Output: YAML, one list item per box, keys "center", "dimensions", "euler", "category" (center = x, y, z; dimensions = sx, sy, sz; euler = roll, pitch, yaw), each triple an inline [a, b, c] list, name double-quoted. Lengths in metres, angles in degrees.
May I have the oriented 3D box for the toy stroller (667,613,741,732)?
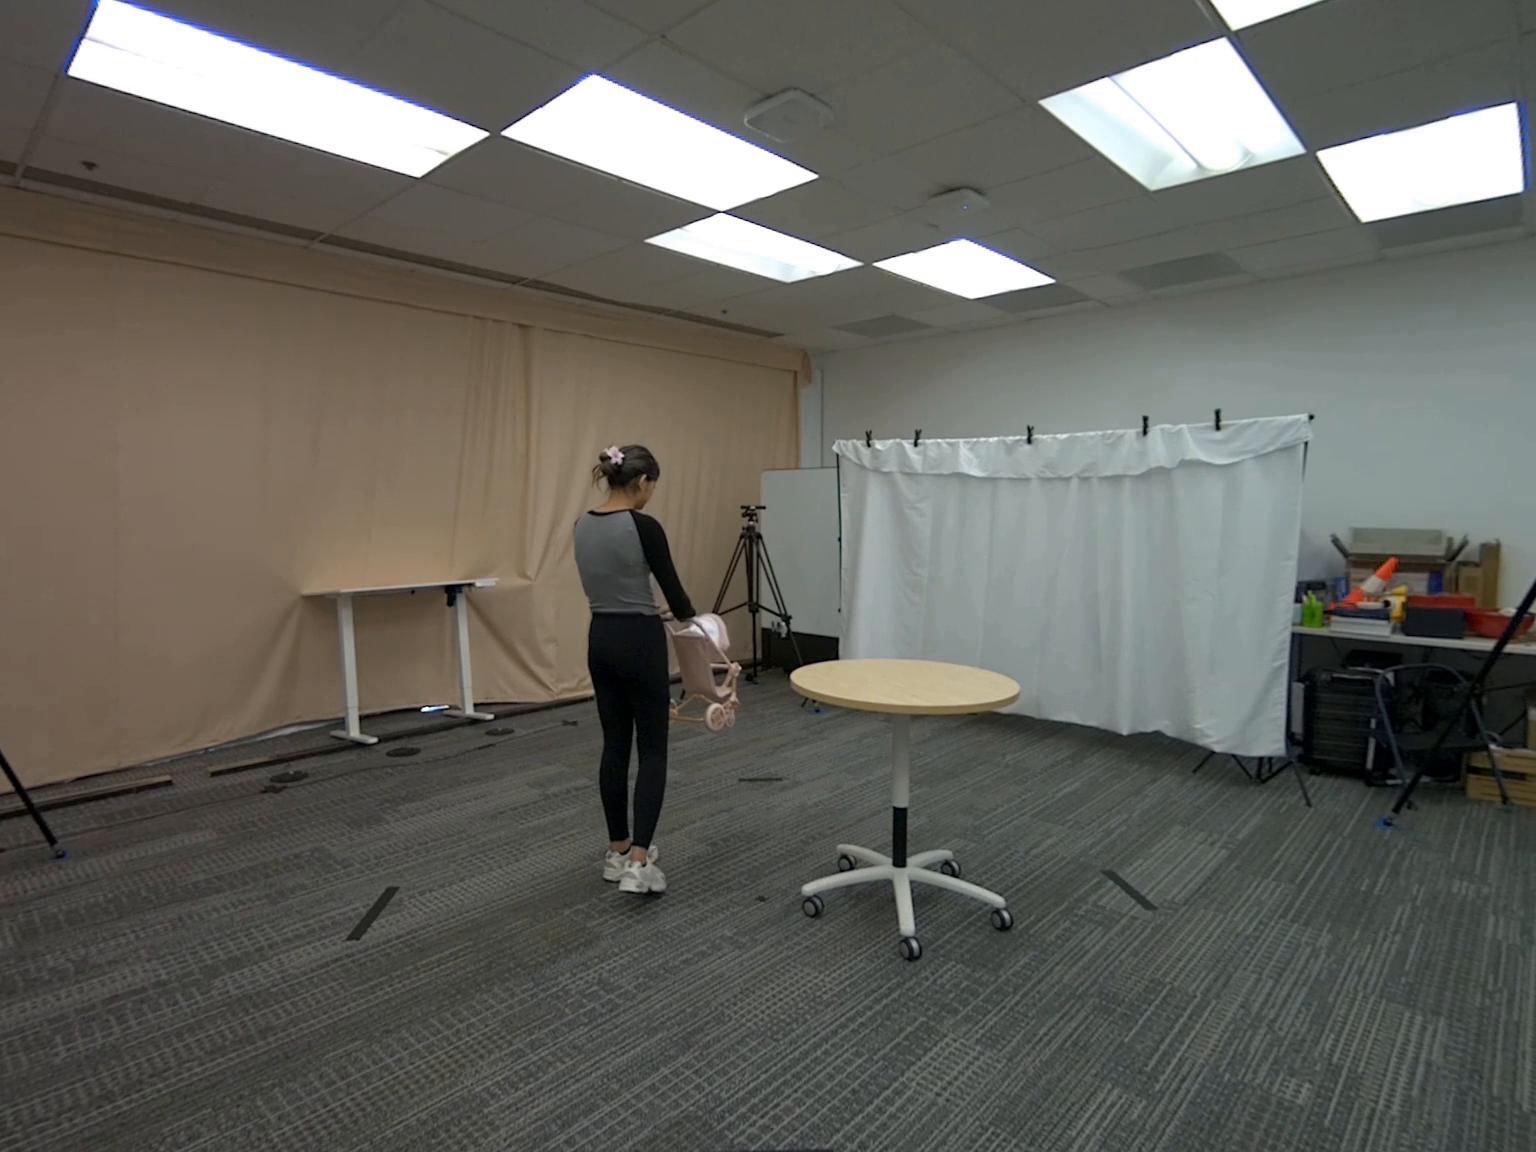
- center: [-0.256, 0.394, 3.484]
  dimensions: [0.290, 0.534, 0.331]
  euler: [-1, 4, 40]
  category: "toy stroller"
